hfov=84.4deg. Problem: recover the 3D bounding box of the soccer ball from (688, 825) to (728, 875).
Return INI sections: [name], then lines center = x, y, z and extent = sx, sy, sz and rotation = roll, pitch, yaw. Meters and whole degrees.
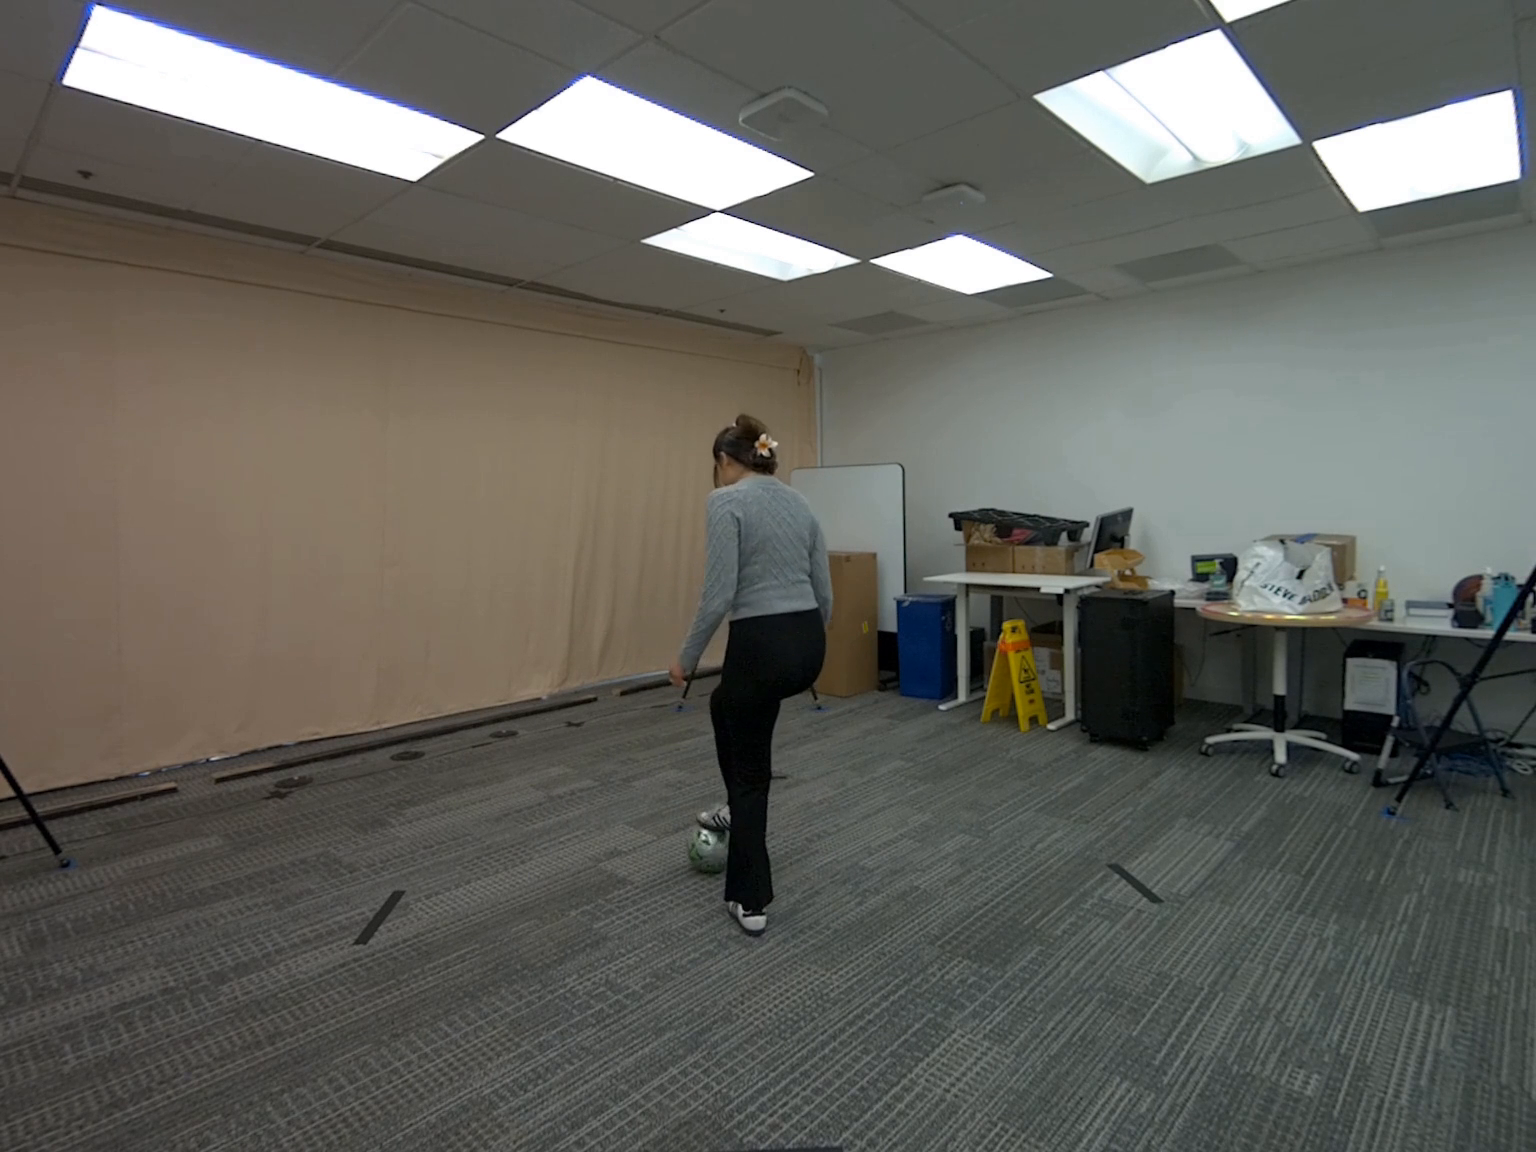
[soccer ball]
center = -0.204, 1.034, 3.210
extent = 0.187, 0.187, 0.188
rotation = -1, 4, -2
